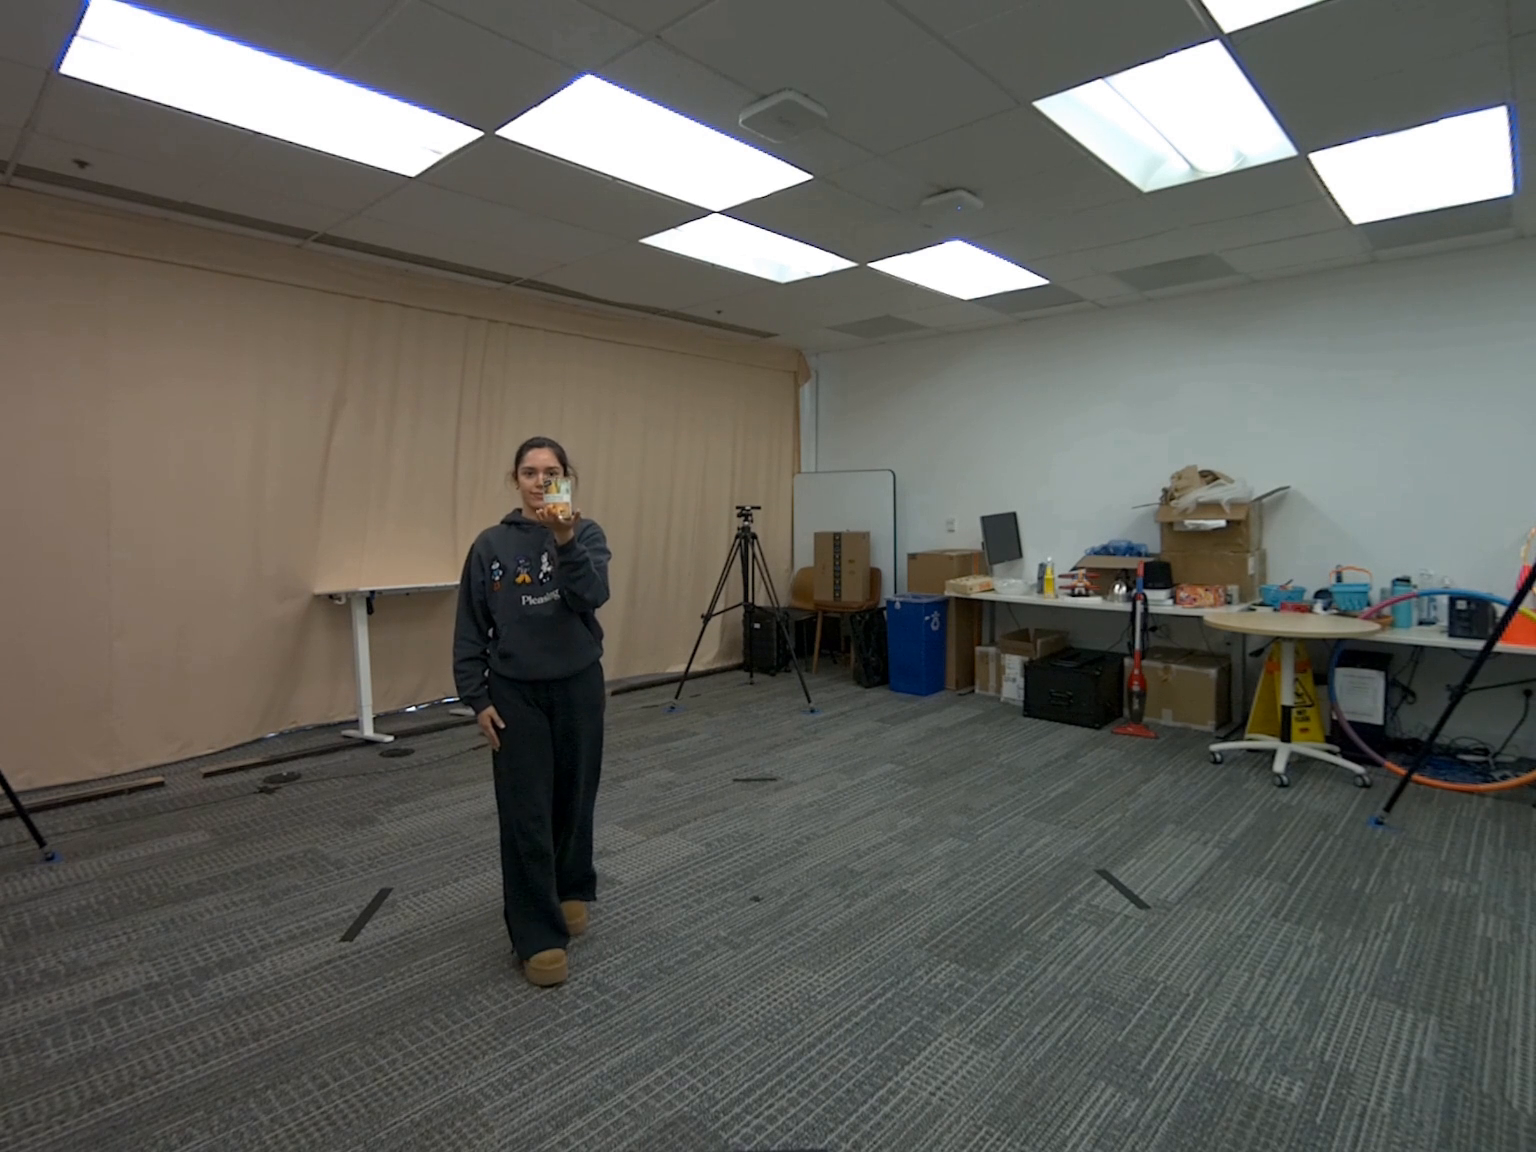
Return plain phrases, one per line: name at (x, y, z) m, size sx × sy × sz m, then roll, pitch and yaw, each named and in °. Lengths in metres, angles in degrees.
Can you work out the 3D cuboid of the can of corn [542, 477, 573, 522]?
can of corn at (-0.577, -0.202, 2.279) m, size 0.074 × 0.111 × 0.074 m, roll -2°, pitch 2°, yaw -2°
